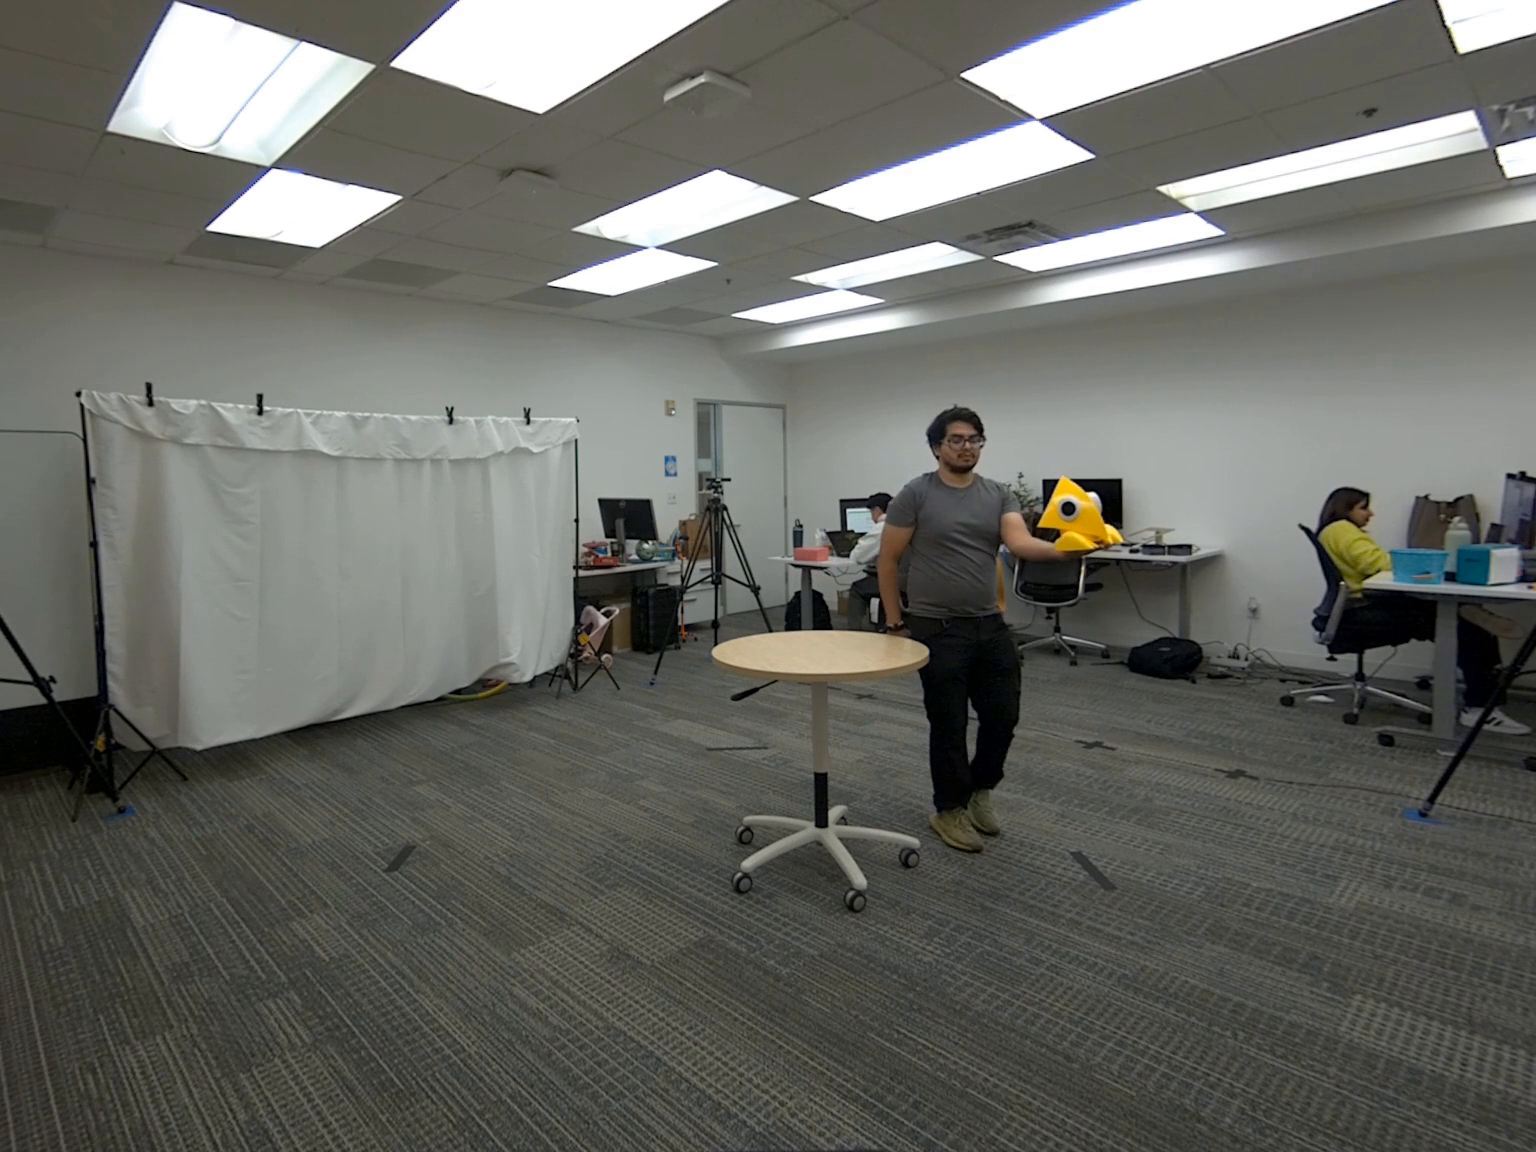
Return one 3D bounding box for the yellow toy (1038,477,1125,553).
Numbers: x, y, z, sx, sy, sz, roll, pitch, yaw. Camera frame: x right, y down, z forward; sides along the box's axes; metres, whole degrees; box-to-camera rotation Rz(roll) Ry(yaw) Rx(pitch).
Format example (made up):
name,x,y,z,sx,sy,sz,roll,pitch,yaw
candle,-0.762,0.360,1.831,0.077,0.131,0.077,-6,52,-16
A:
name,x,y,z,sx,sy,sz,roll,pitch,yaw
yellow toy,1.016,-0.211,2.748,0.201,0.230,0.197,-10,5,-25
